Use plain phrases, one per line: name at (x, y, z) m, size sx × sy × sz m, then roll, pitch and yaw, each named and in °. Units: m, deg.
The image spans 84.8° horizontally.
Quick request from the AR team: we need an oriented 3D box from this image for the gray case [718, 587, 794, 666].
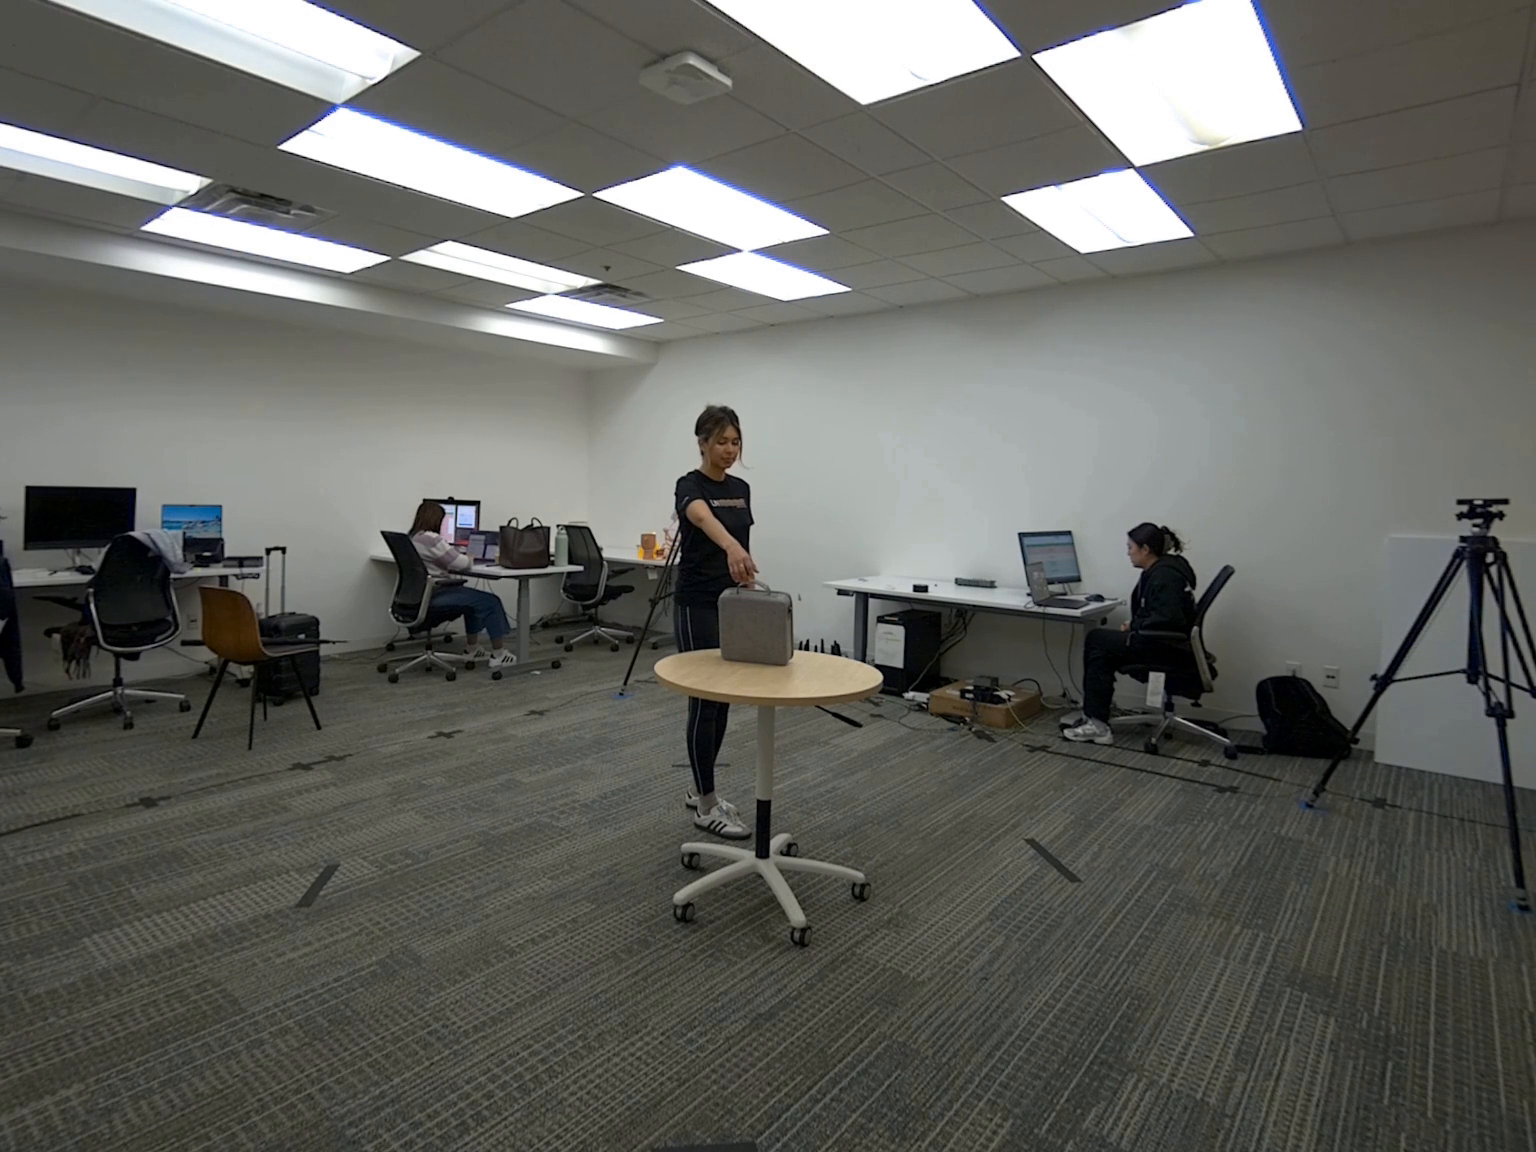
gray case at (-0.048, 0.167, 2.975) m, size 0.262 × 0.257 × 0.104 m, roll 2°, pitch 15°, yaw 19°
